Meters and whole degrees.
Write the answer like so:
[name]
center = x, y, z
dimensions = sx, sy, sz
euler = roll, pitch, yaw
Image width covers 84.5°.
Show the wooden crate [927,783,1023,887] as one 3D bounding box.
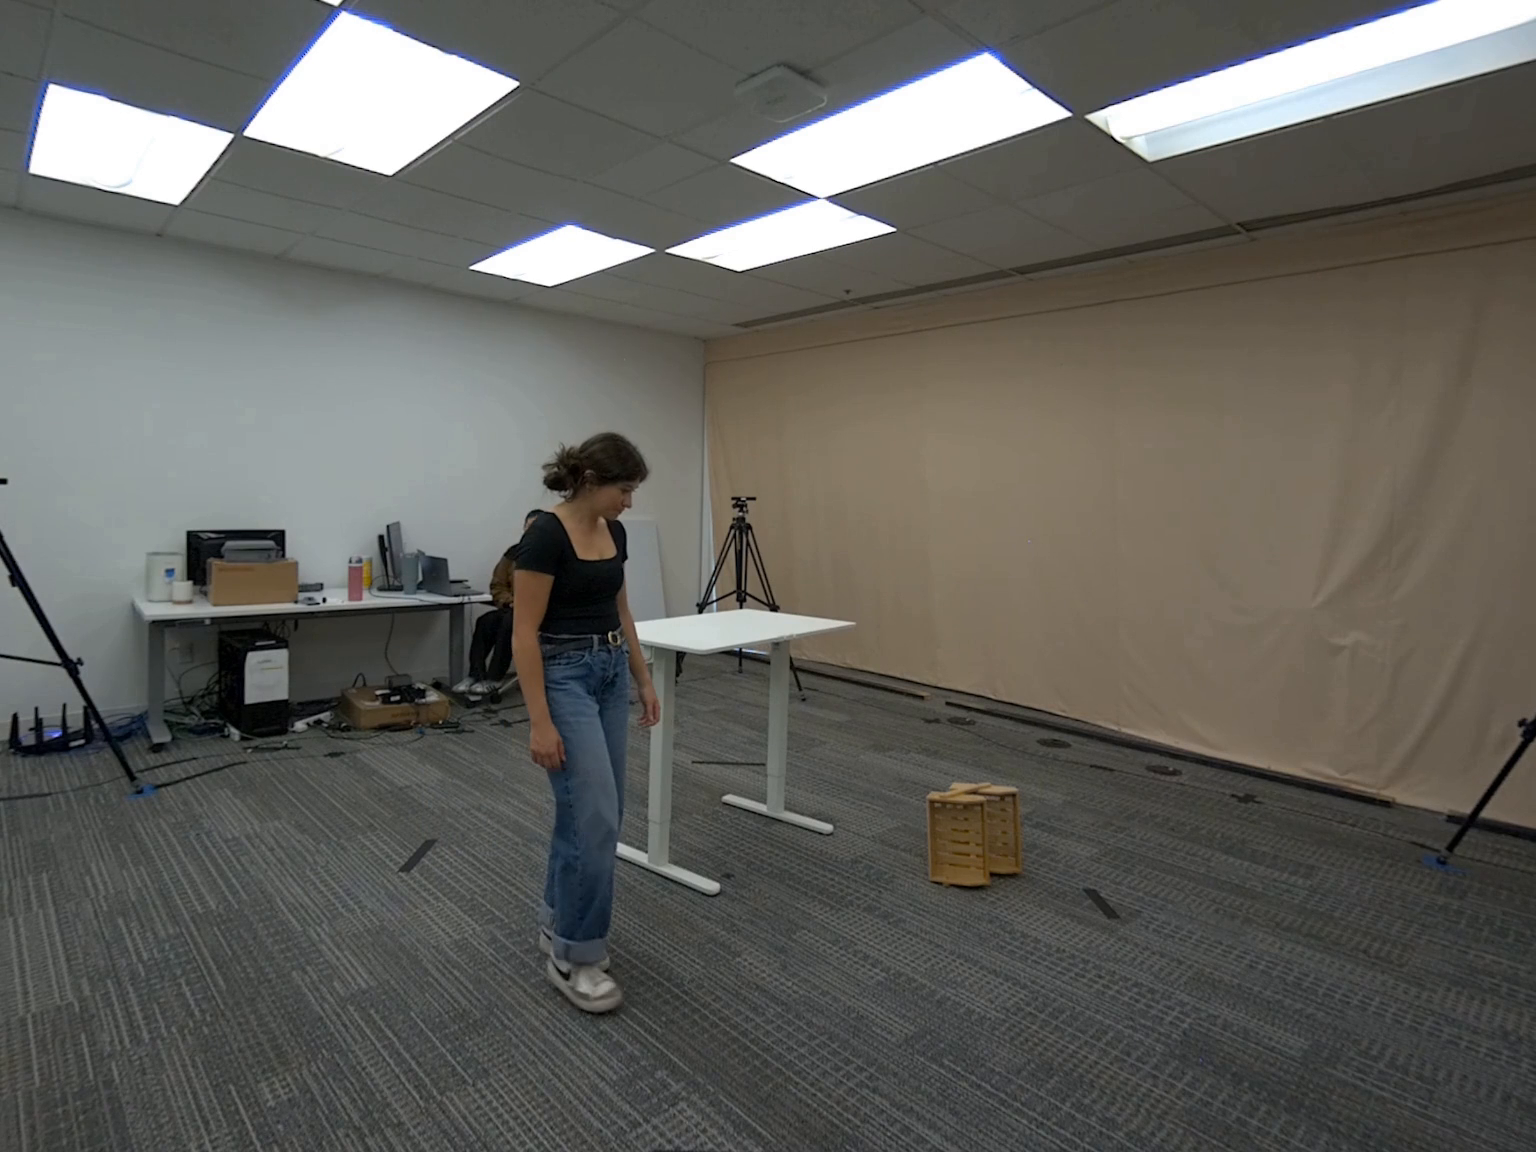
[wooden crate]
center = 0.768, 0.960, 3.145
dimensions = 0.307, 0.325, 0.268
euler = -3, -1, 25
